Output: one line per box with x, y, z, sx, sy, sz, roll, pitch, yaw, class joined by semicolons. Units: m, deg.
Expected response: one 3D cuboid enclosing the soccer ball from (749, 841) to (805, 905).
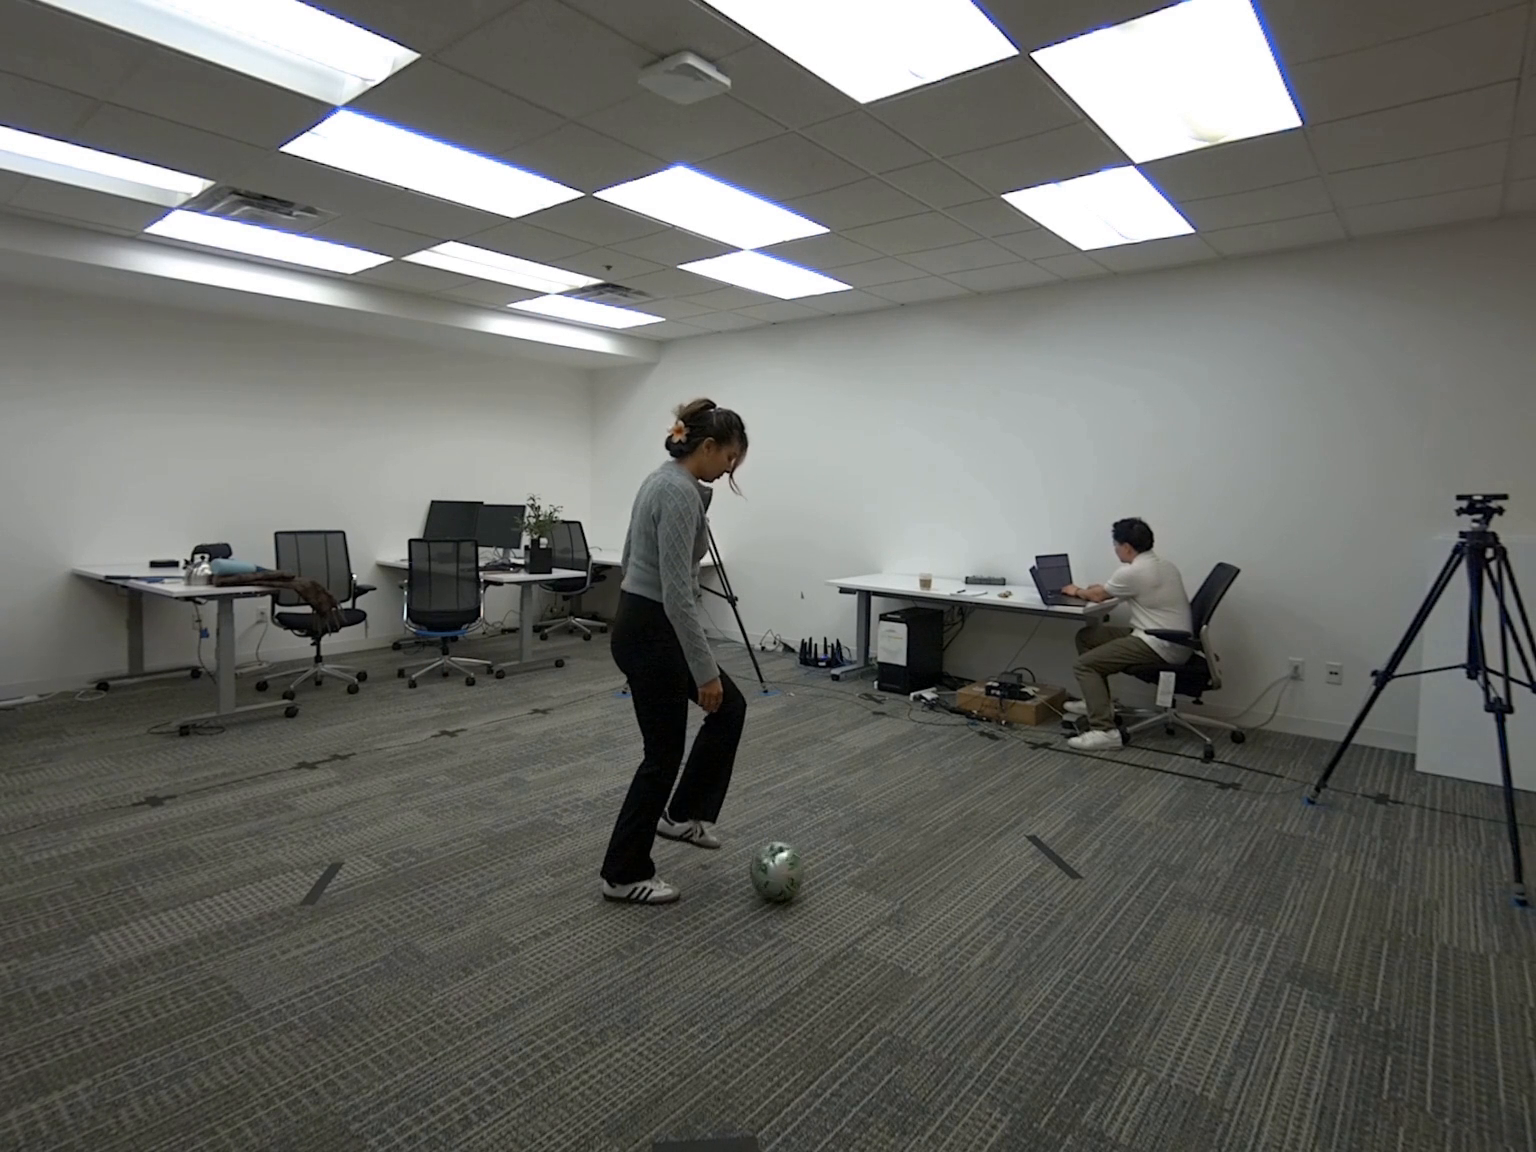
0.028;1.002;2.885;0.187;0.187;0.188;1;4;-2;soccer ball
